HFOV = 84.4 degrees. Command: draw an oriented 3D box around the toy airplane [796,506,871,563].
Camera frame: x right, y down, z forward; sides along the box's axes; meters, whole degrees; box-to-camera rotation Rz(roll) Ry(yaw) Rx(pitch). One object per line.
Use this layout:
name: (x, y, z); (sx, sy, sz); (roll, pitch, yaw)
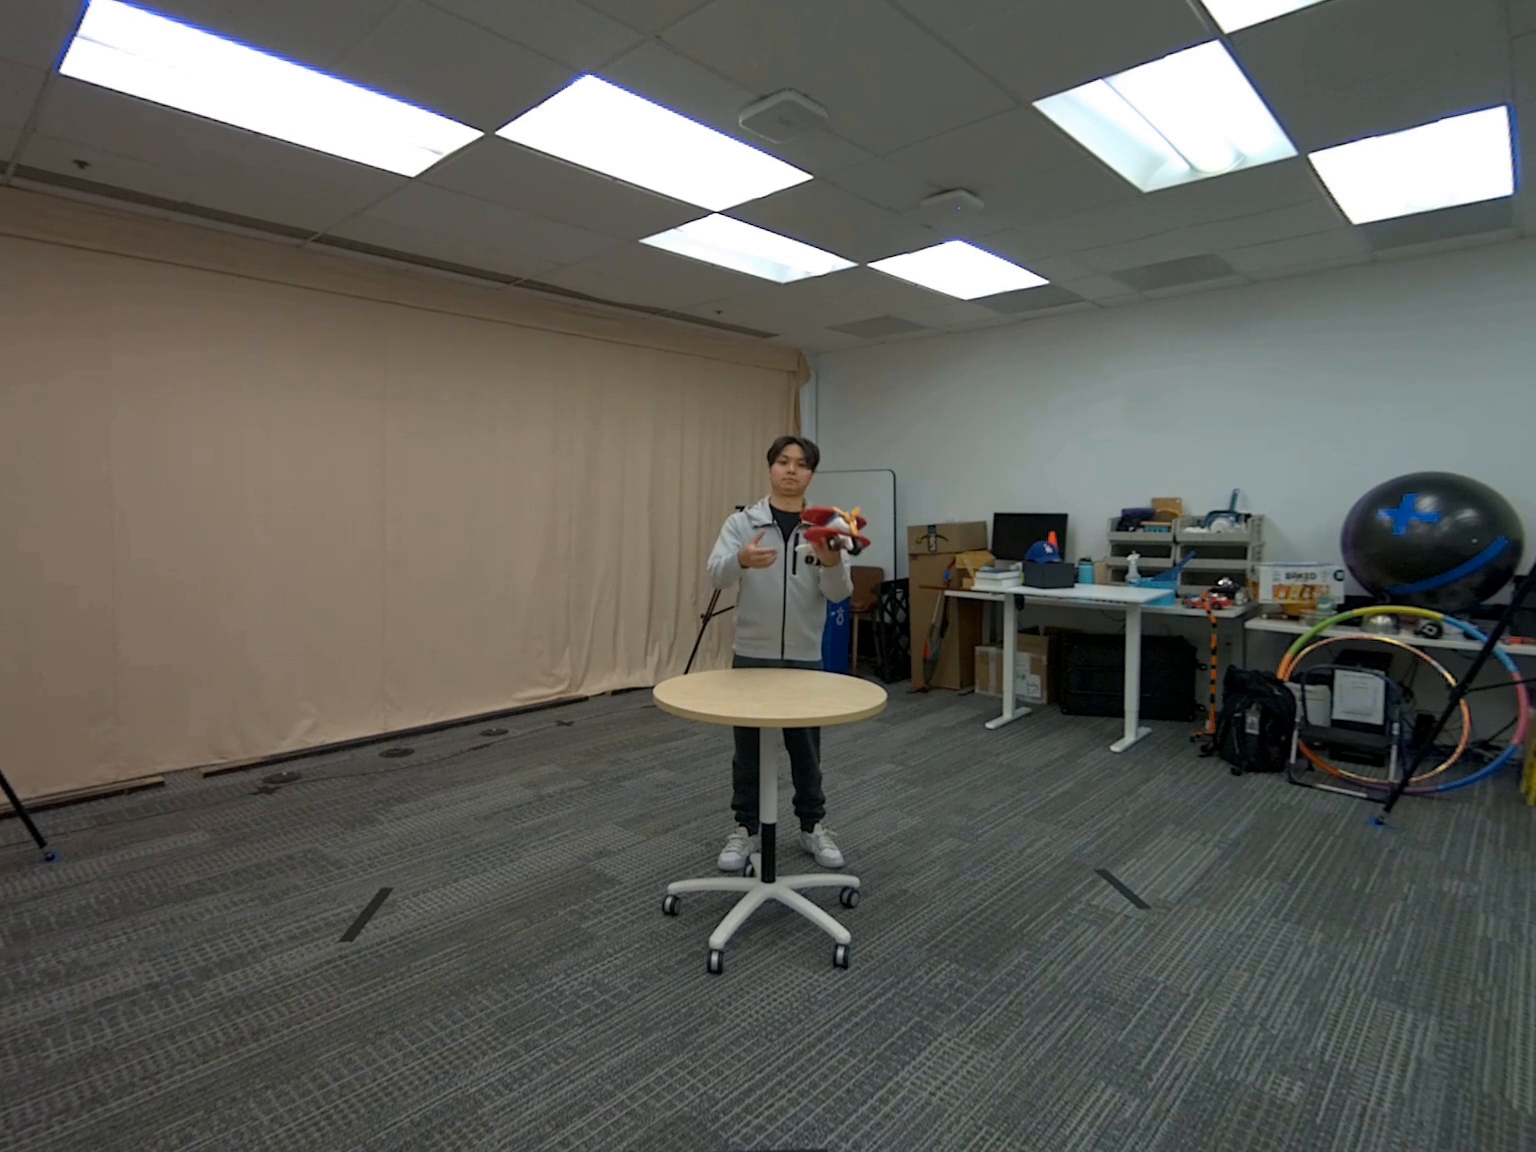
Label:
toy airplane: (0.189, -0.132, 2.877); (0.266, 0.158, 0.242); (-9, -19, 32)
